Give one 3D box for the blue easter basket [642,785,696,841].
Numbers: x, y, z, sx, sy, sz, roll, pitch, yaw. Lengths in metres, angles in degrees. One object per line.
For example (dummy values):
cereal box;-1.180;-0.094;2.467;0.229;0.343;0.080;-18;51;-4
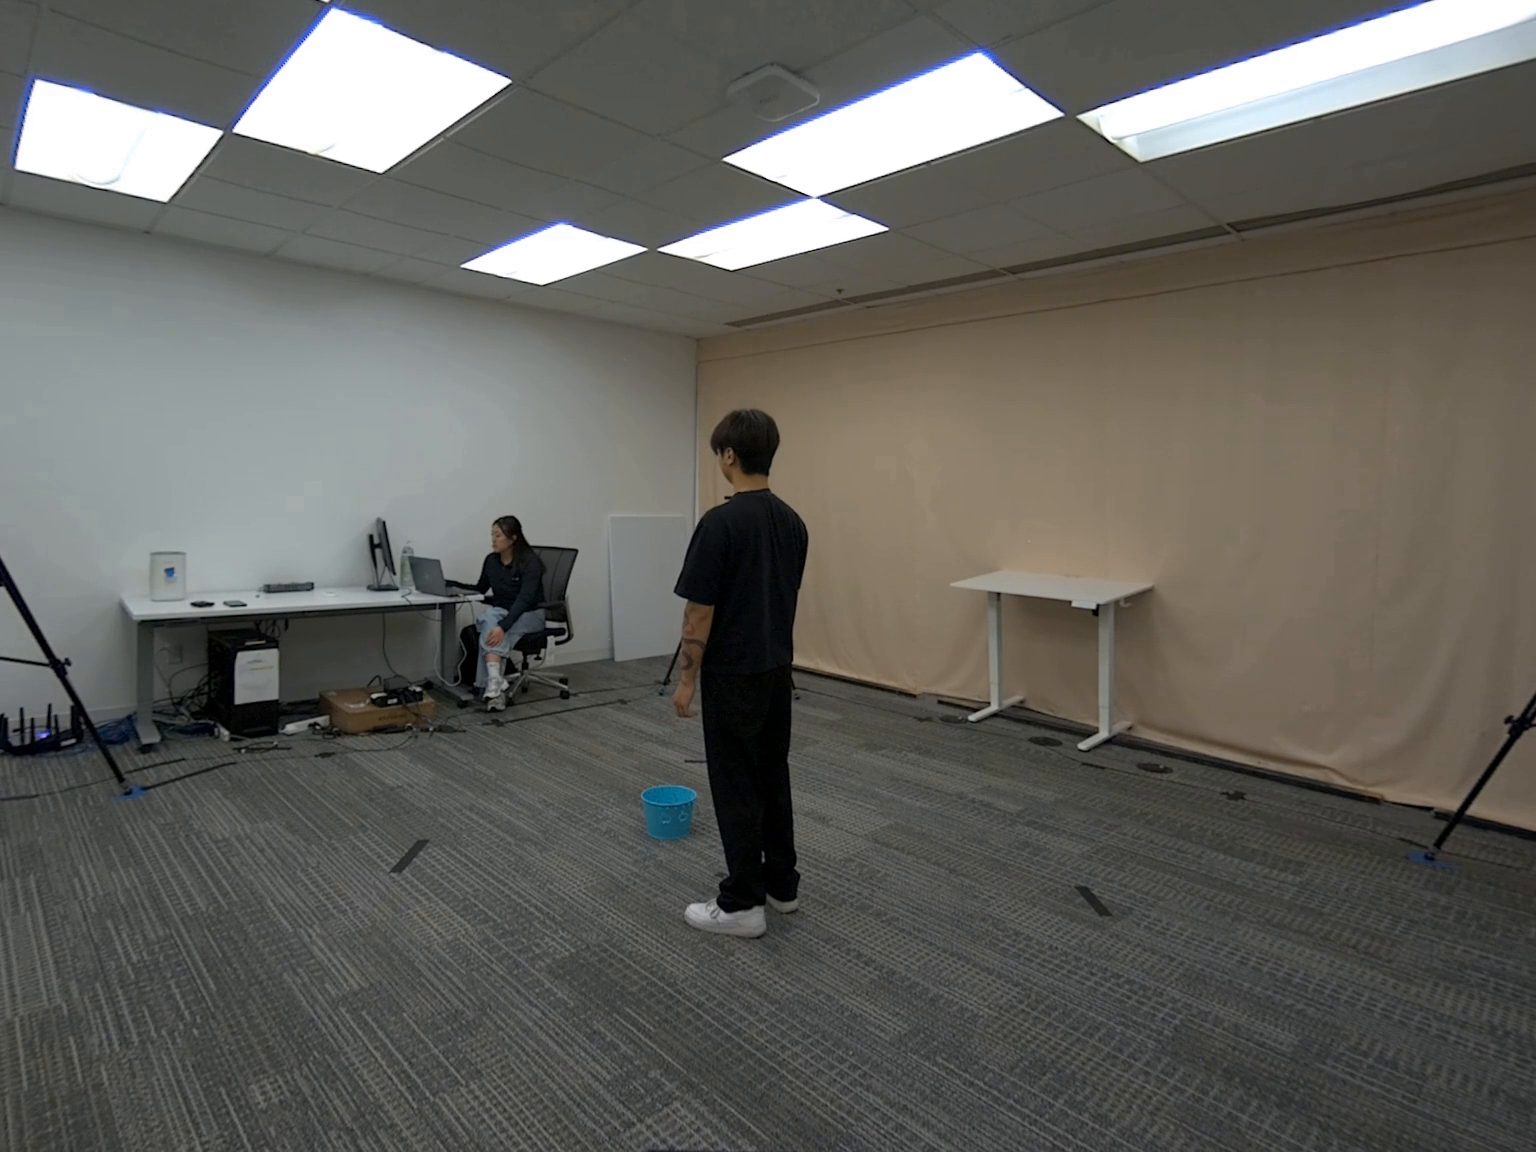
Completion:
blue easter basket;-0.418;0.986;3.508;0.243;0.155;0.244;2;5;-1
